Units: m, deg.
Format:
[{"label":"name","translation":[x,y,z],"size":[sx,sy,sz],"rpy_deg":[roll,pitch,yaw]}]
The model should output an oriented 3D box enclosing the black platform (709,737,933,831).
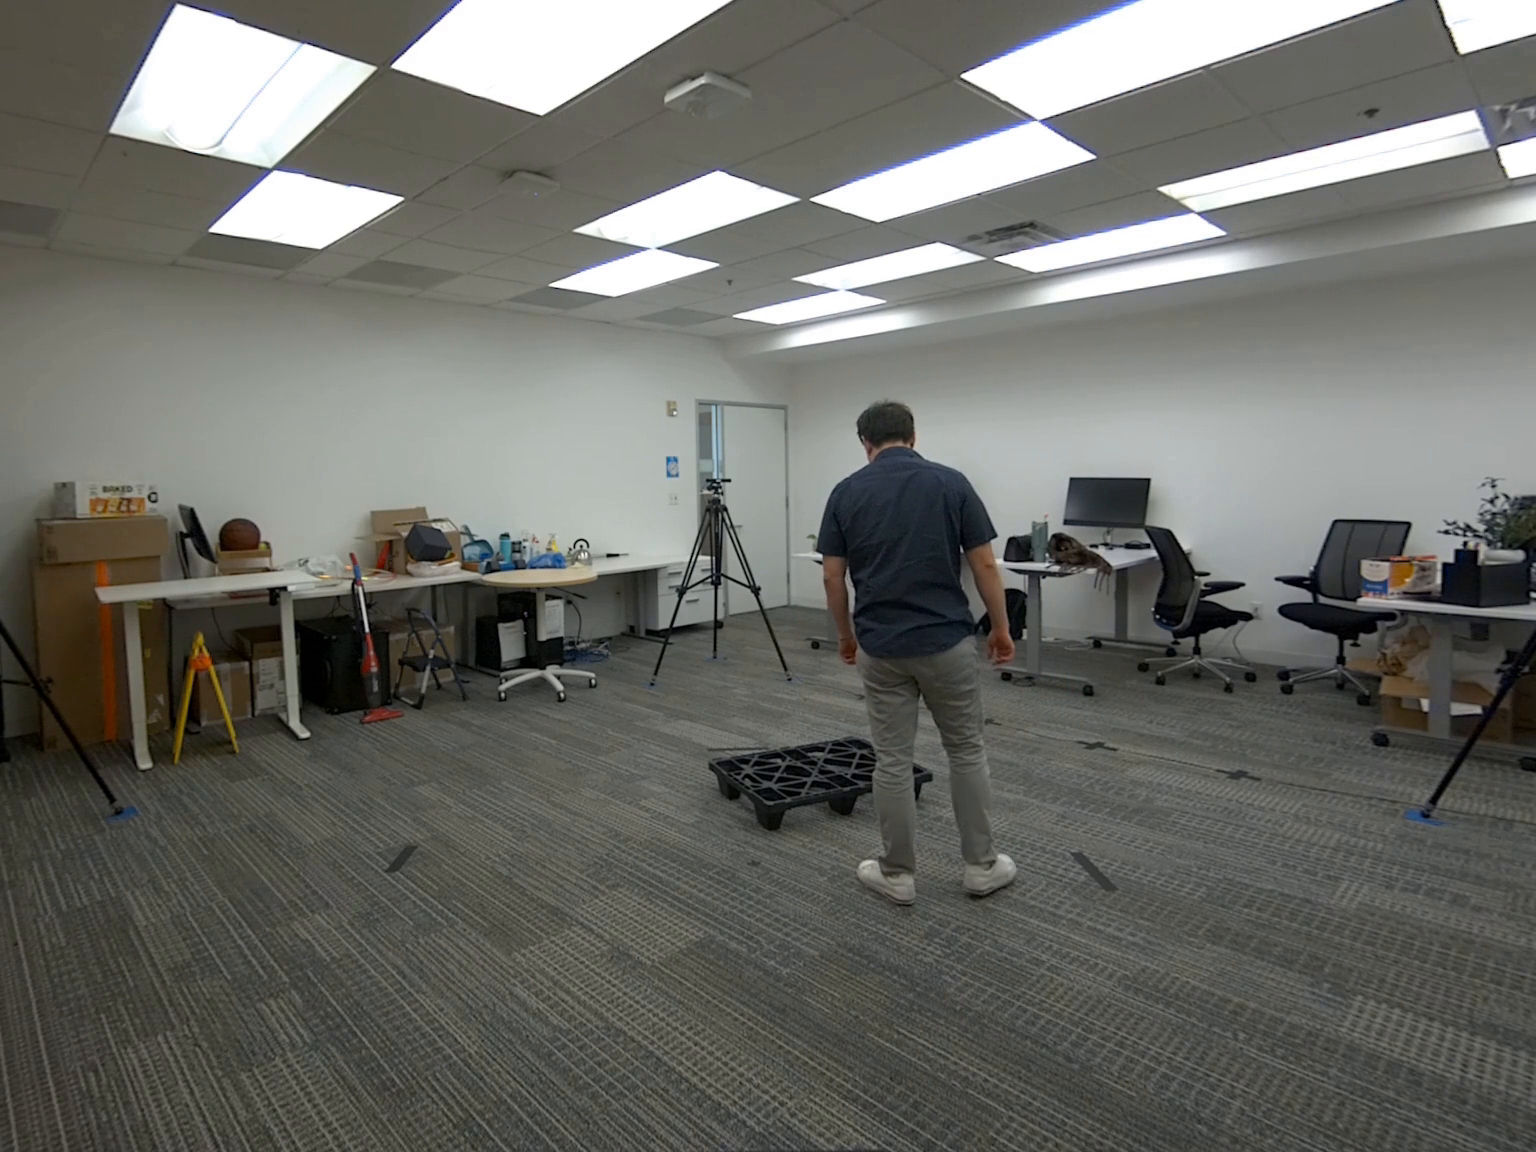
[{"label":"black platform","translation":[0.214,0.901,3.751],"size":[0.789,0.143,0.620],"rpy_deg":[-4,6,-25]}]
